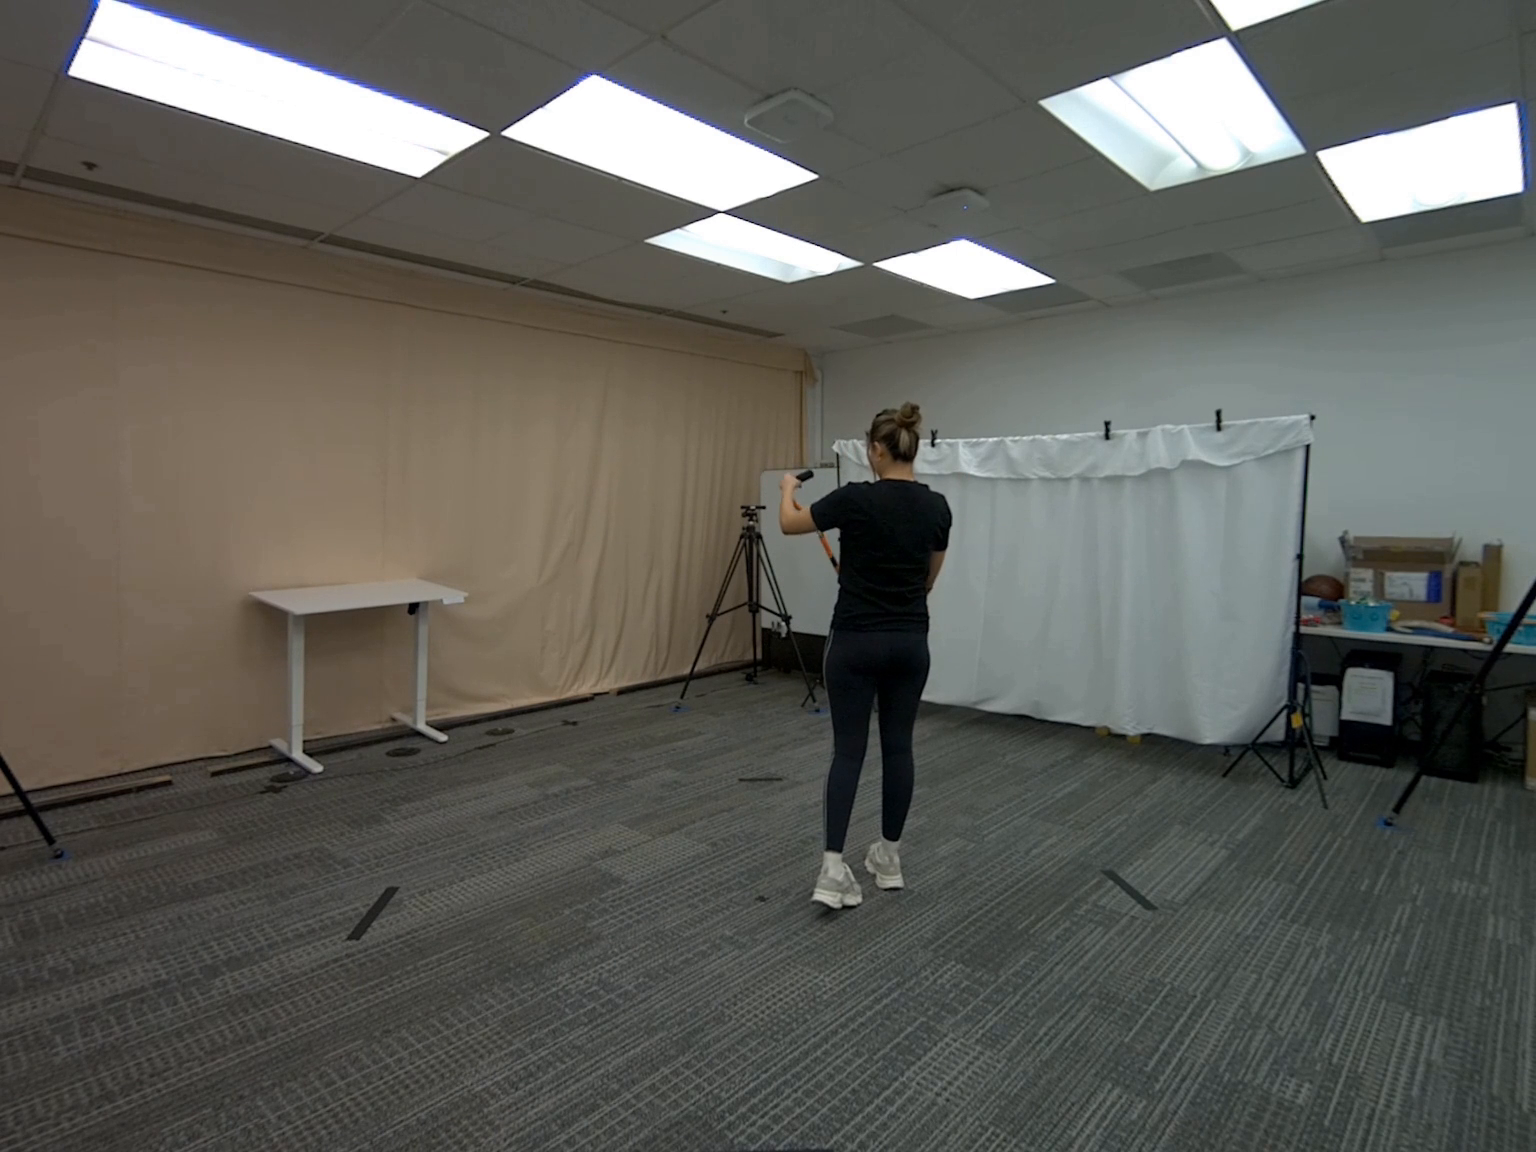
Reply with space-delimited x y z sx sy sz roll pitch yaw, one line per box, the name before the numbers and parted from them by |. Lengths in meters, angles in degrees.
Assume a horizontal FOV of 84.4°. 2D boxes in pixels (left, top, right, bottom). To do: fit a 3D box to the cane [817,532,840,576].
cane | 0.295 0.030 3.400 0.203 0.908 0.154 -27 0 -29
